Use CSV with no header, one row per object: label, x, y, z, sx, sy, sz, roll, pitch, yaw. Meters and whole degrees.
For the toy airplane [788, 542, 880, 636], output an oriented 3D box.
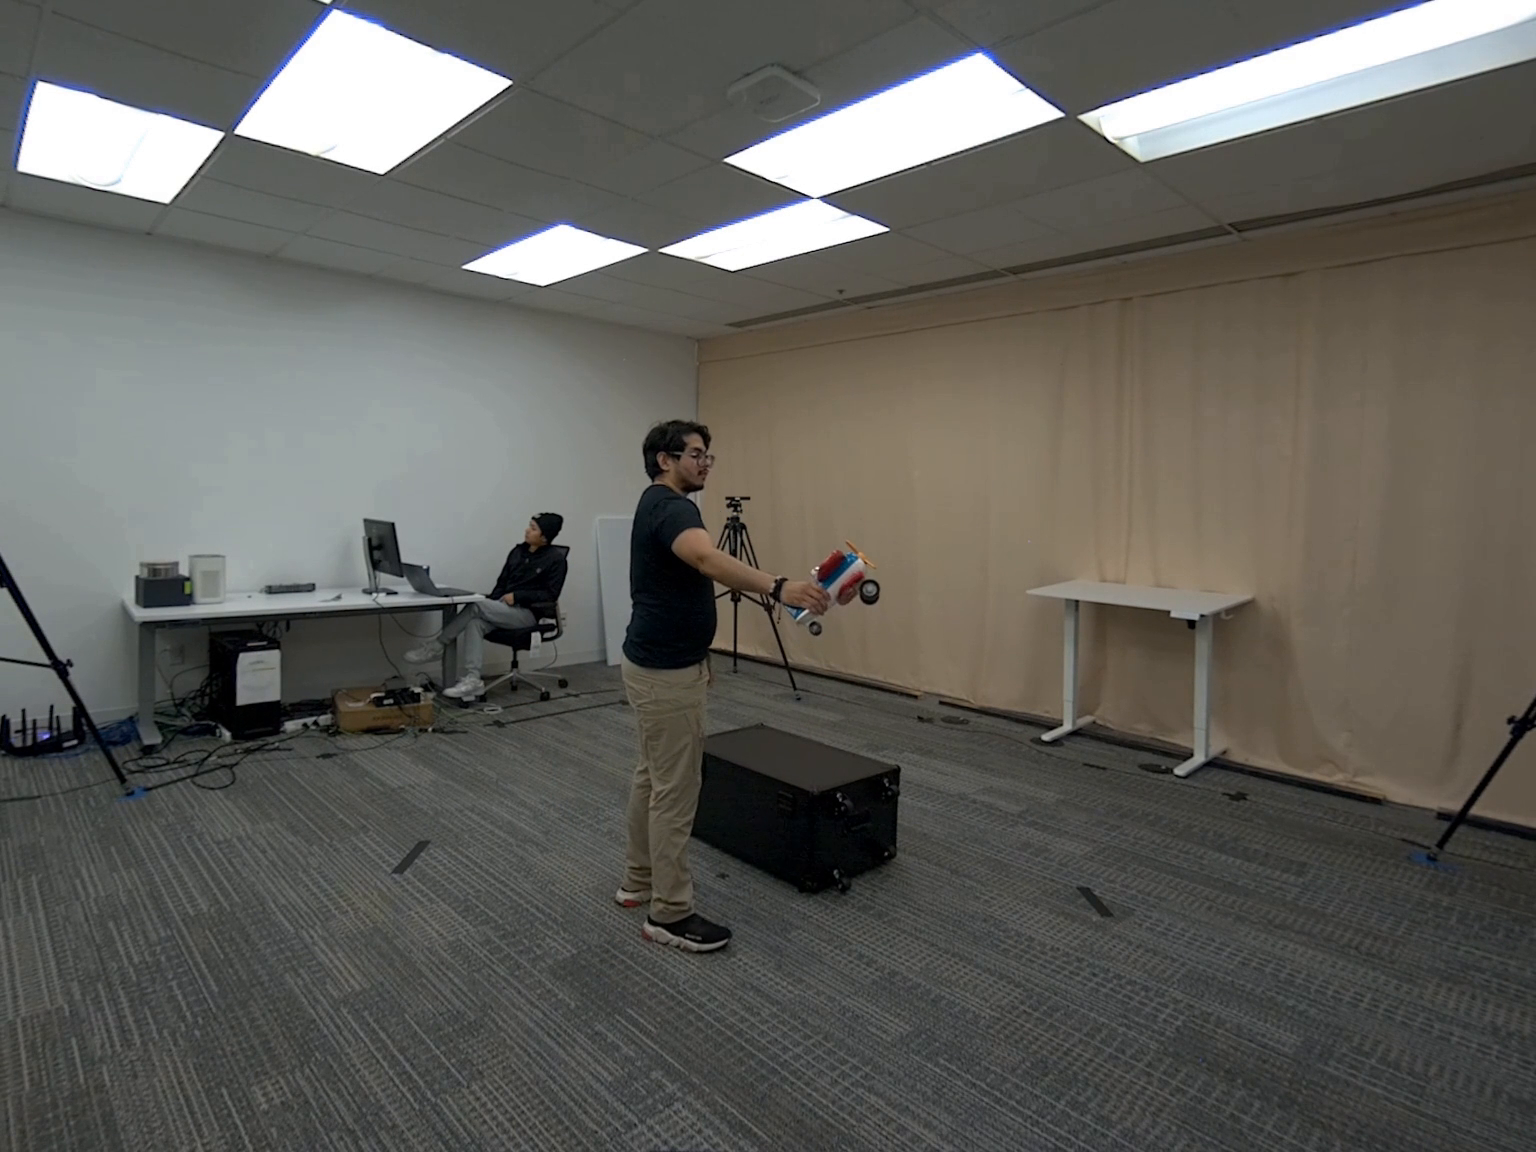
toy airplane,0.178,0.040,2.269,0.256,0.159,0.250,-23,-16,-28
